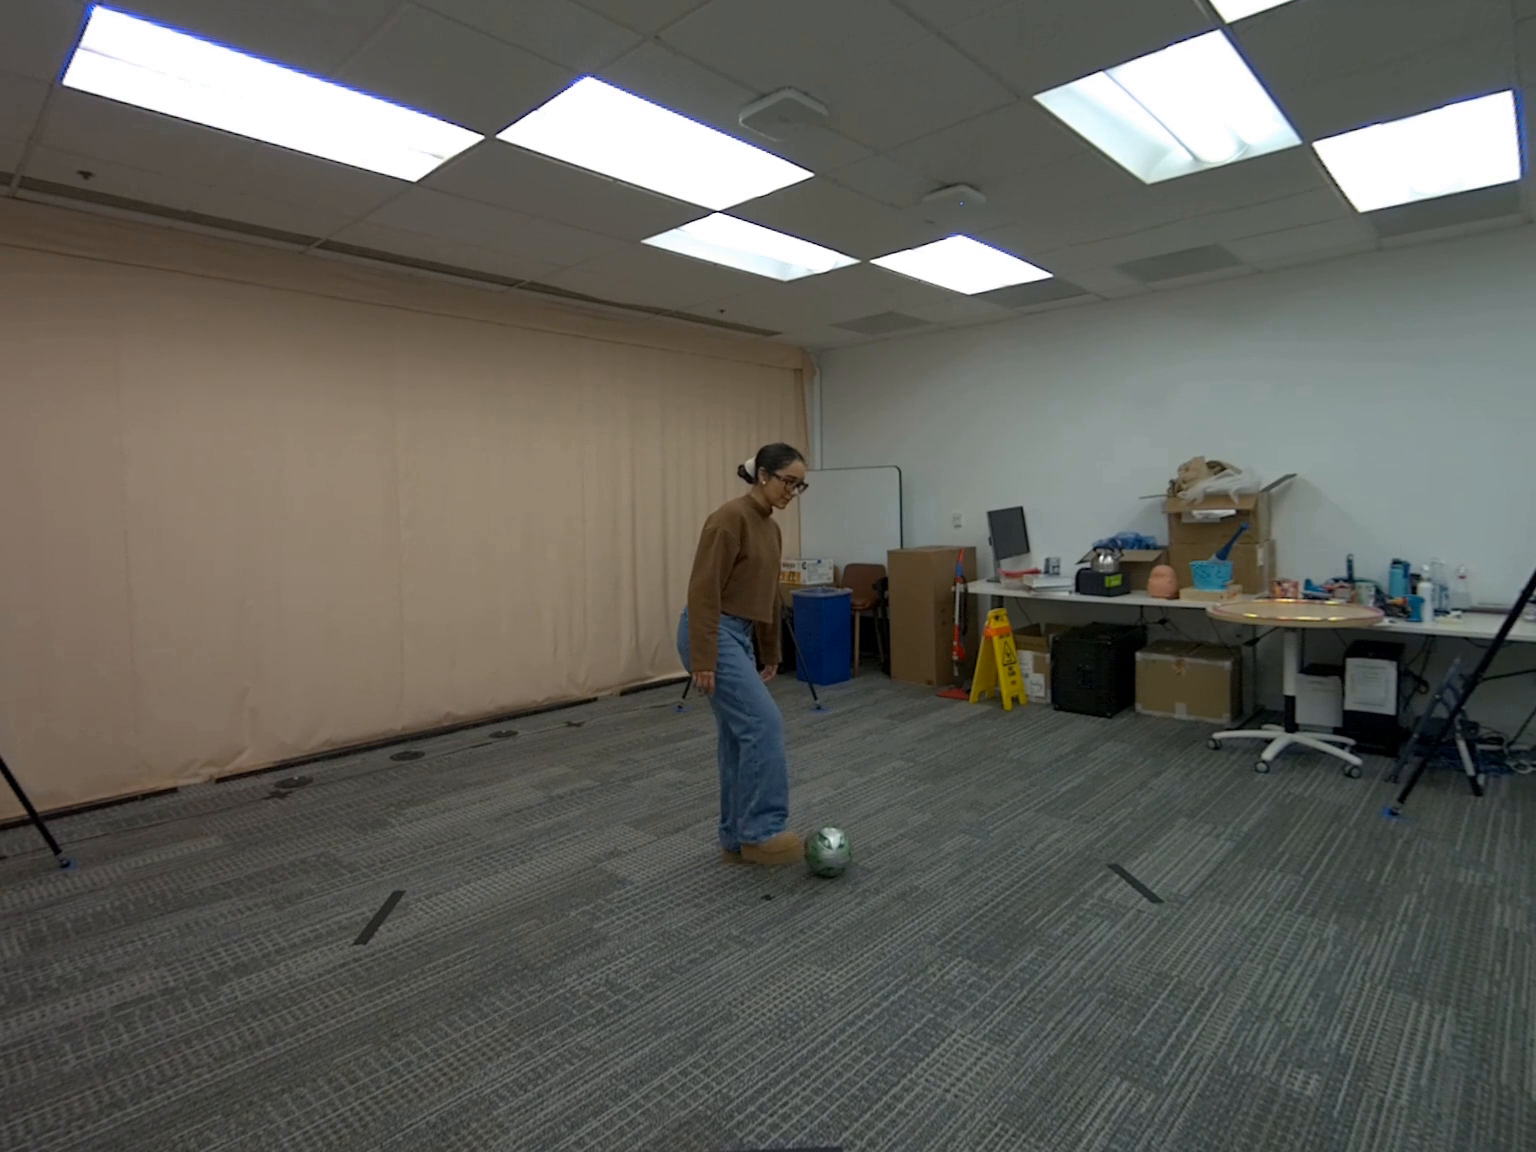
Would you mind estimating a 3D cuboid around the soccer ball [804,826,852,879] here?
[{"bbox_3d":[0.233,1.027,3.149,0.187,0.187,0.188,-1,4,-2],"label":"soccer ball"}]
